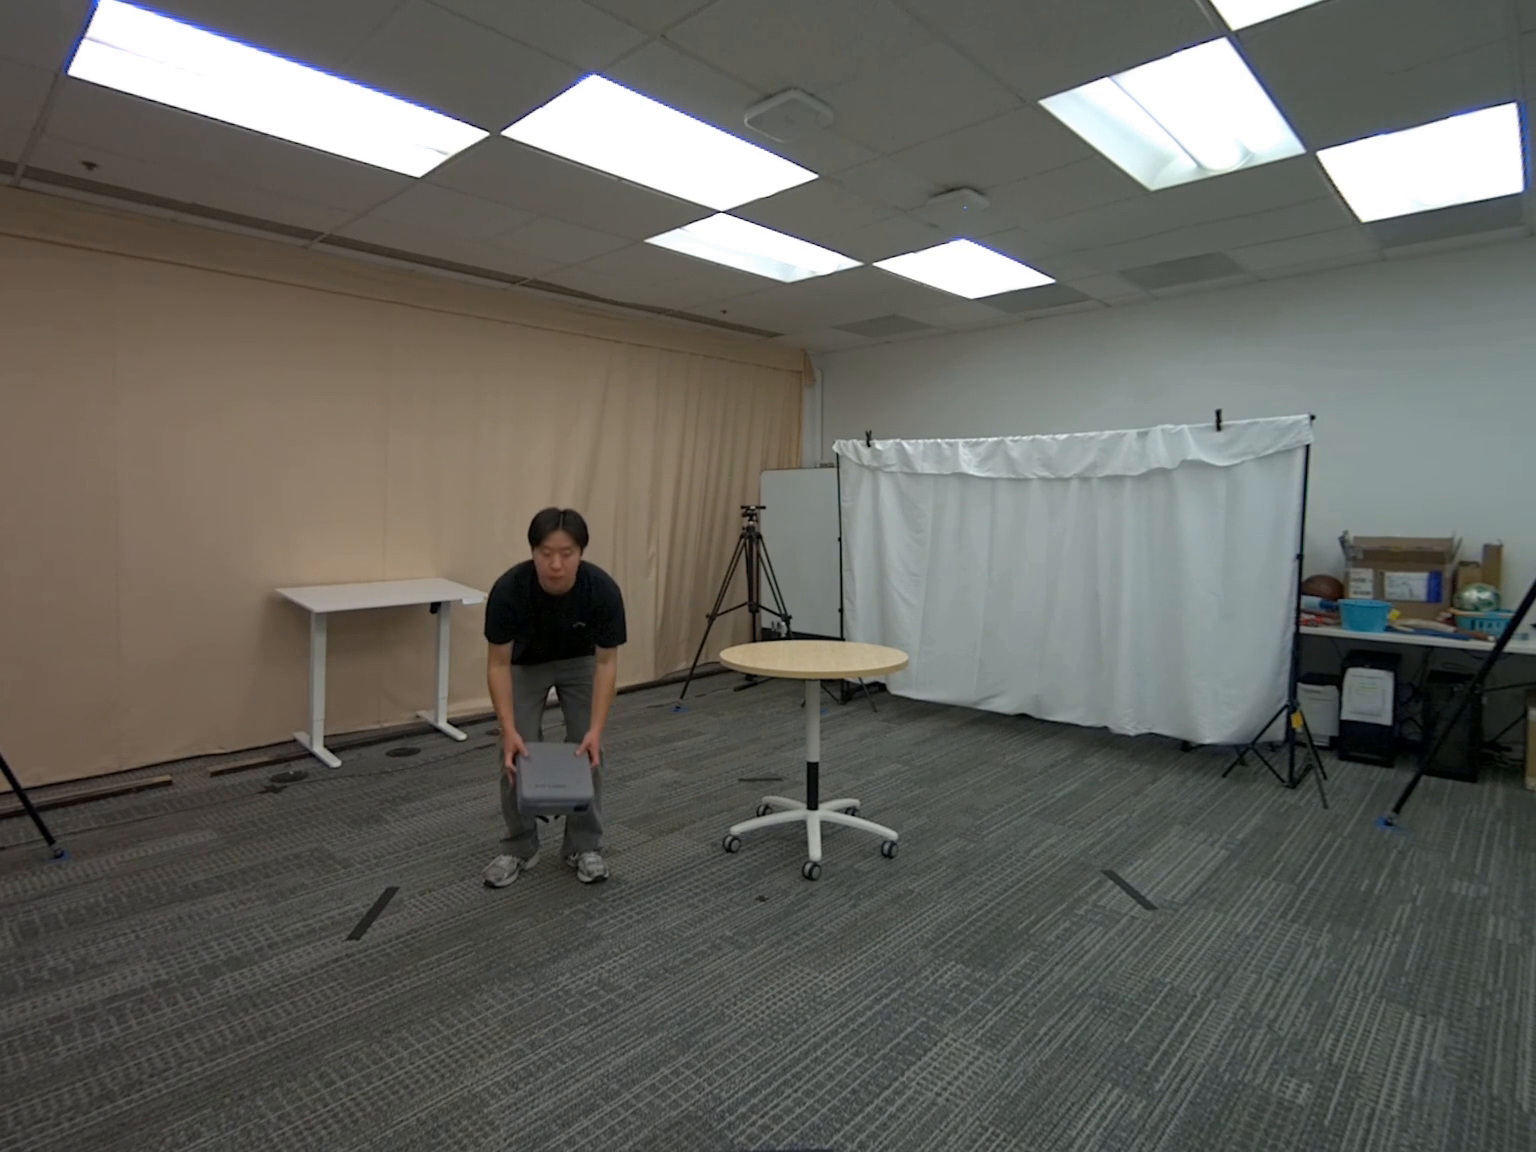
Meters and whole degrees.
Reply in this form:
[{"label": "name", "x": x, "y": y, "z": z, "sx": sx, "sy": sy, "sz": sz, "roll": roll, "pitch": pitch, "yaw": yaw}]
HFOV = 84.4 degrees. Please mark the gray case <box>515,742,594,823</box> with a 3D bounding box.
[{"label": "gray case", "x": -0.742, "y": 0.690, "z": 2.924, "sx": 0.257, "sy": 0.102, "sz": 0.295, "roll": 5, "pitch": 34, "yaw": -21}]
